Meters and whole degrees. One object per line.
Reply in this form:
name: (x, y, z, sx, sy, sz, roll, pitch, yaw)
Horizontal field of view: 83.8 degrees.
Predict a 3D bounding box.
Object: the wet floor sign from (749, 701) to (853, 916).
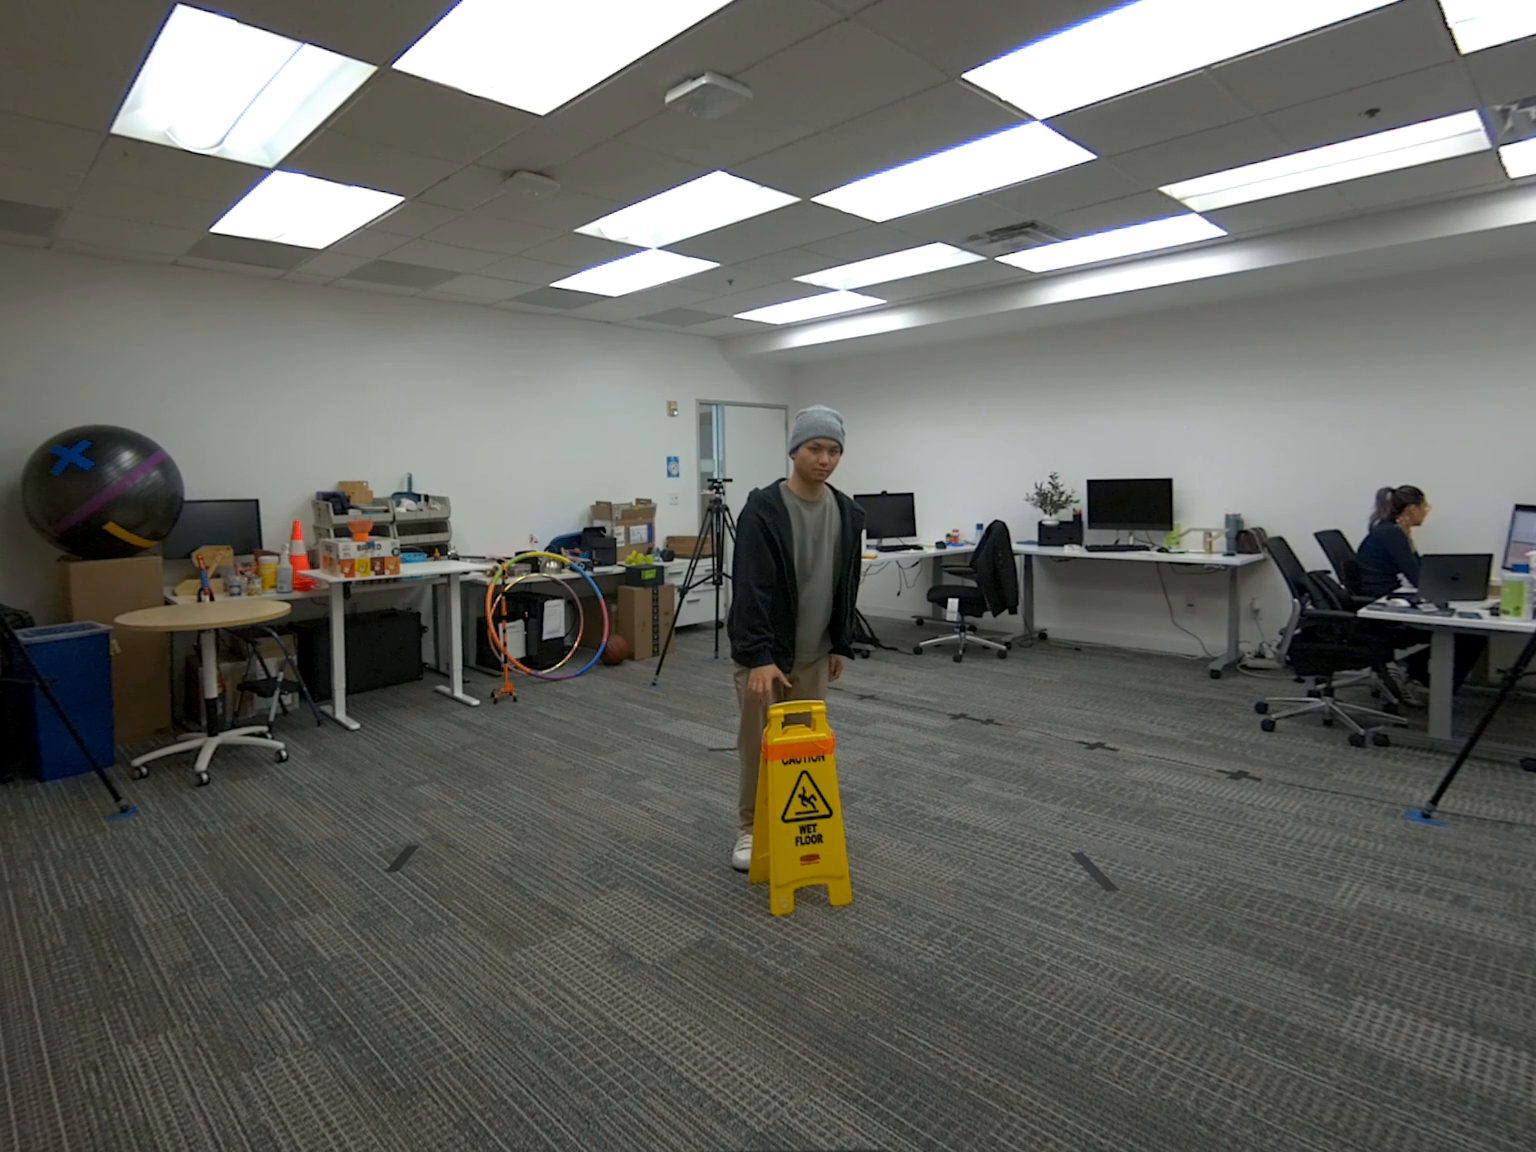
wet floor sign: (0.101, 0.744, 2.860, 0.278, 0.642, 0.295, -3, 6, -16)
